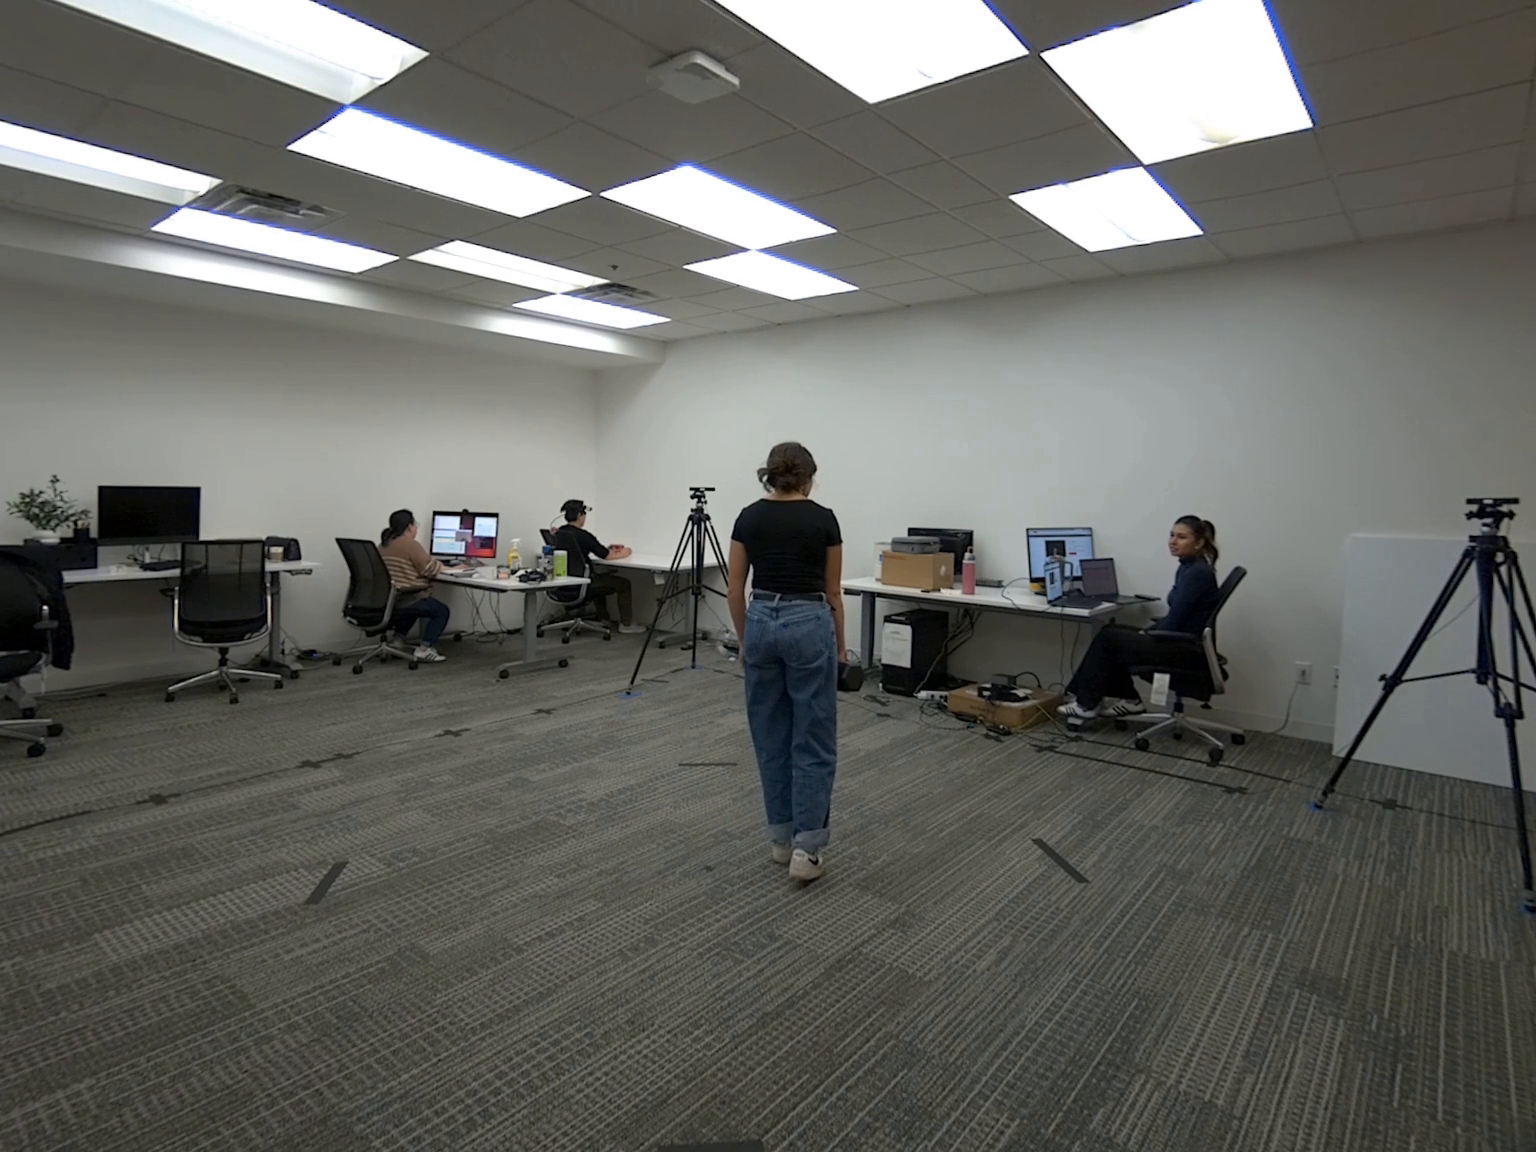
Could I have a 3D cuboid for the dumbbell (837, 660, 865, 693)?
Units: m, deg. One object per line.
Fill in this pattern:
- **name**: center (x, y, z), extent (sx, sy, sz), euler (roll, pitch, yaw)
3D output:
- **dumbbell**: center (0.222, 0.371, 3.252), extent (0.105, 0.124, 0.302), euler (39, -23, -32)
